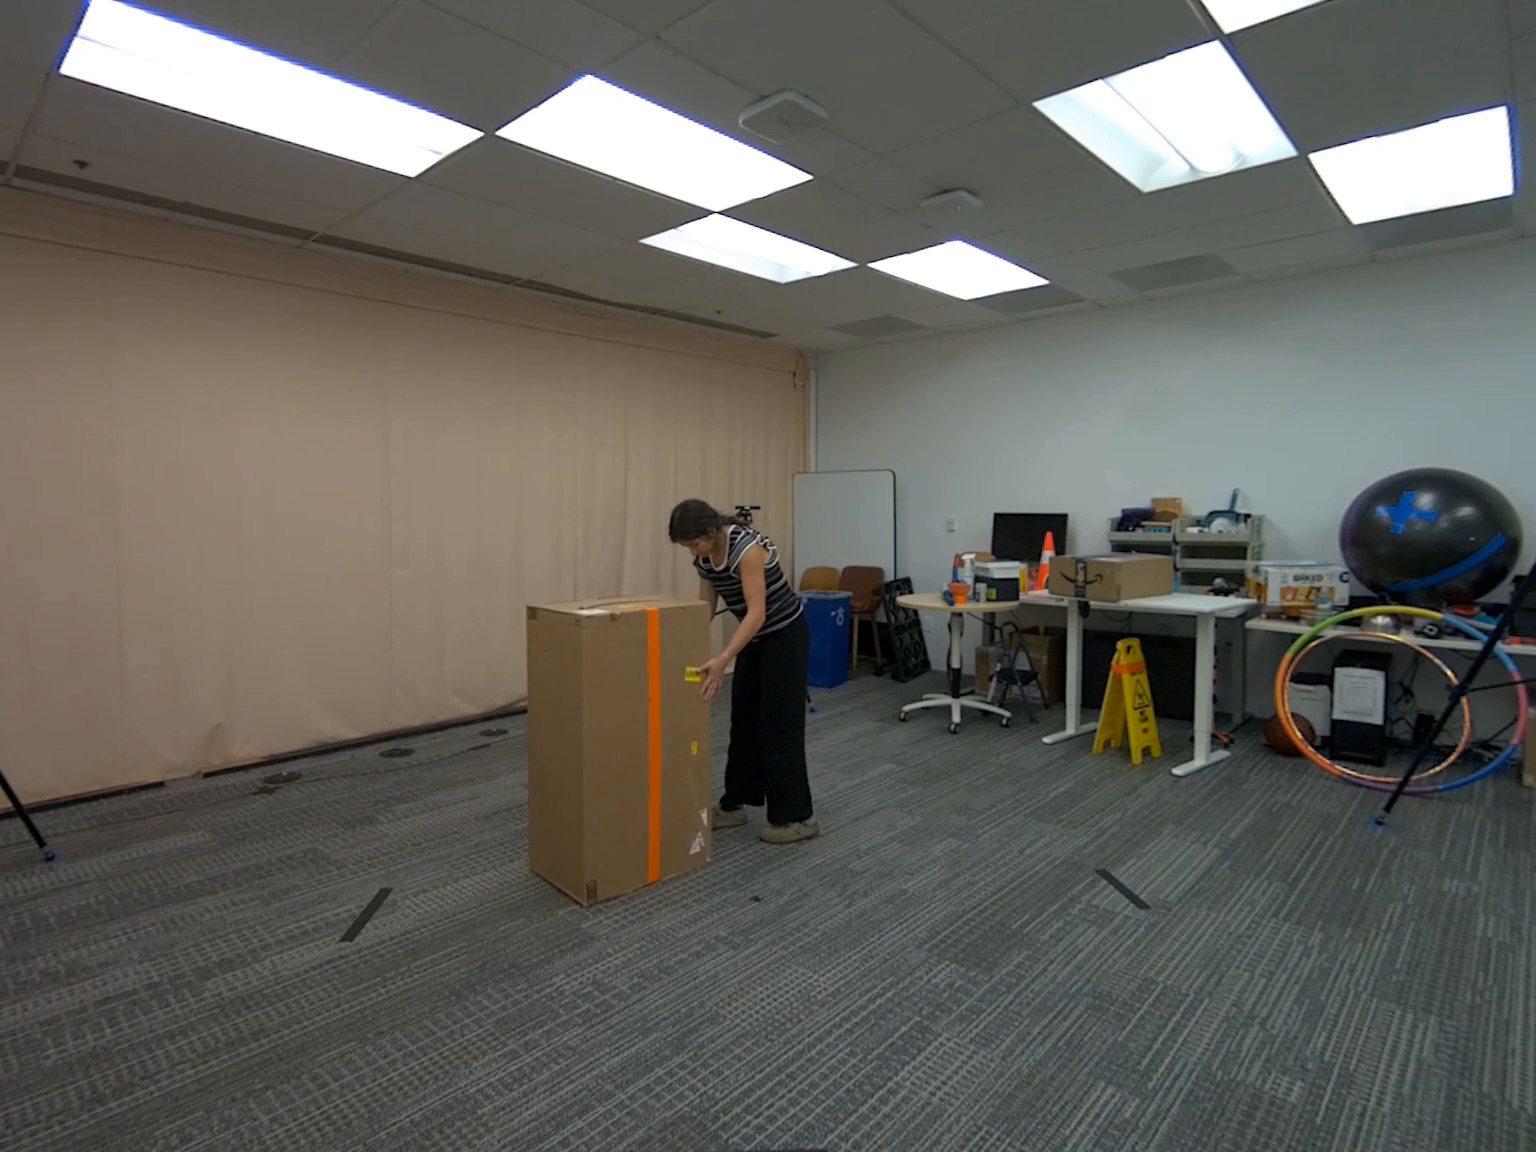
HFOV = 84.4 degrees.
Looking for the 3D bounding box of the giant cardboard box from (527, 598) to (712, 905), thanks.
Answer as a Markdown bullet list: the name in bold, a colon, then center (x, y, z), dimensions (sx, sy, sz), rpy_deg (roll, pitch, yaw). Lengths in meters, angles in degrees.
- **giant cardboard box**: center (-0.573, 0.619, 3.242), dimensions (0.560, 1.024, 0.440), rpy_deg (-3, 4, -42)
